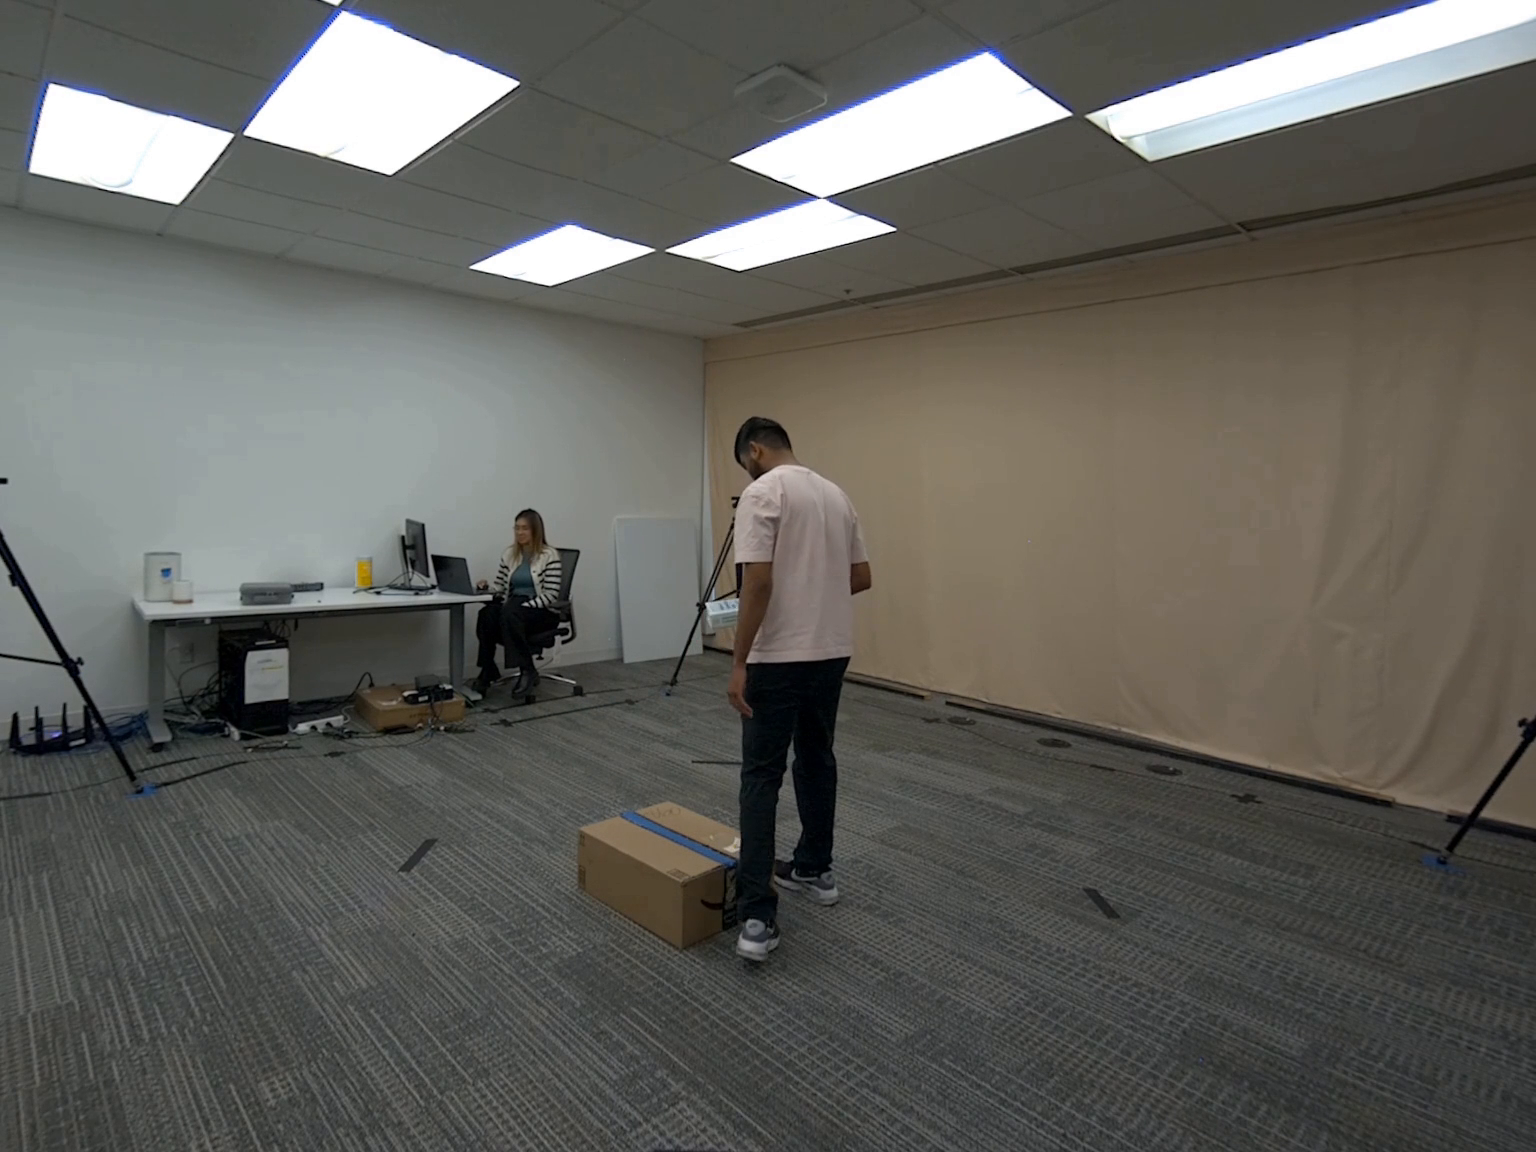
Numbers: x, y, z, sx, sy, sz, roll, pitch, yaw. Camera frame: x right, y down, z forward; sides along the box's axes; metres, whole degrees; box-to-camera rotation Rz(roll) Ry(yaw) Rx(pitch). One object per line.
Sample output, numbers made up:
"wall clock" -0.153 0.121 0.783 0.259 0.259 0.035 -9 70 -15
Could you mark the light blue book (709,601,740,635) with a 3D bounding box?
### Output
"light blue book" -0.076 0.138 3.015 0.261 0.058 0.193 -7 12 -2
